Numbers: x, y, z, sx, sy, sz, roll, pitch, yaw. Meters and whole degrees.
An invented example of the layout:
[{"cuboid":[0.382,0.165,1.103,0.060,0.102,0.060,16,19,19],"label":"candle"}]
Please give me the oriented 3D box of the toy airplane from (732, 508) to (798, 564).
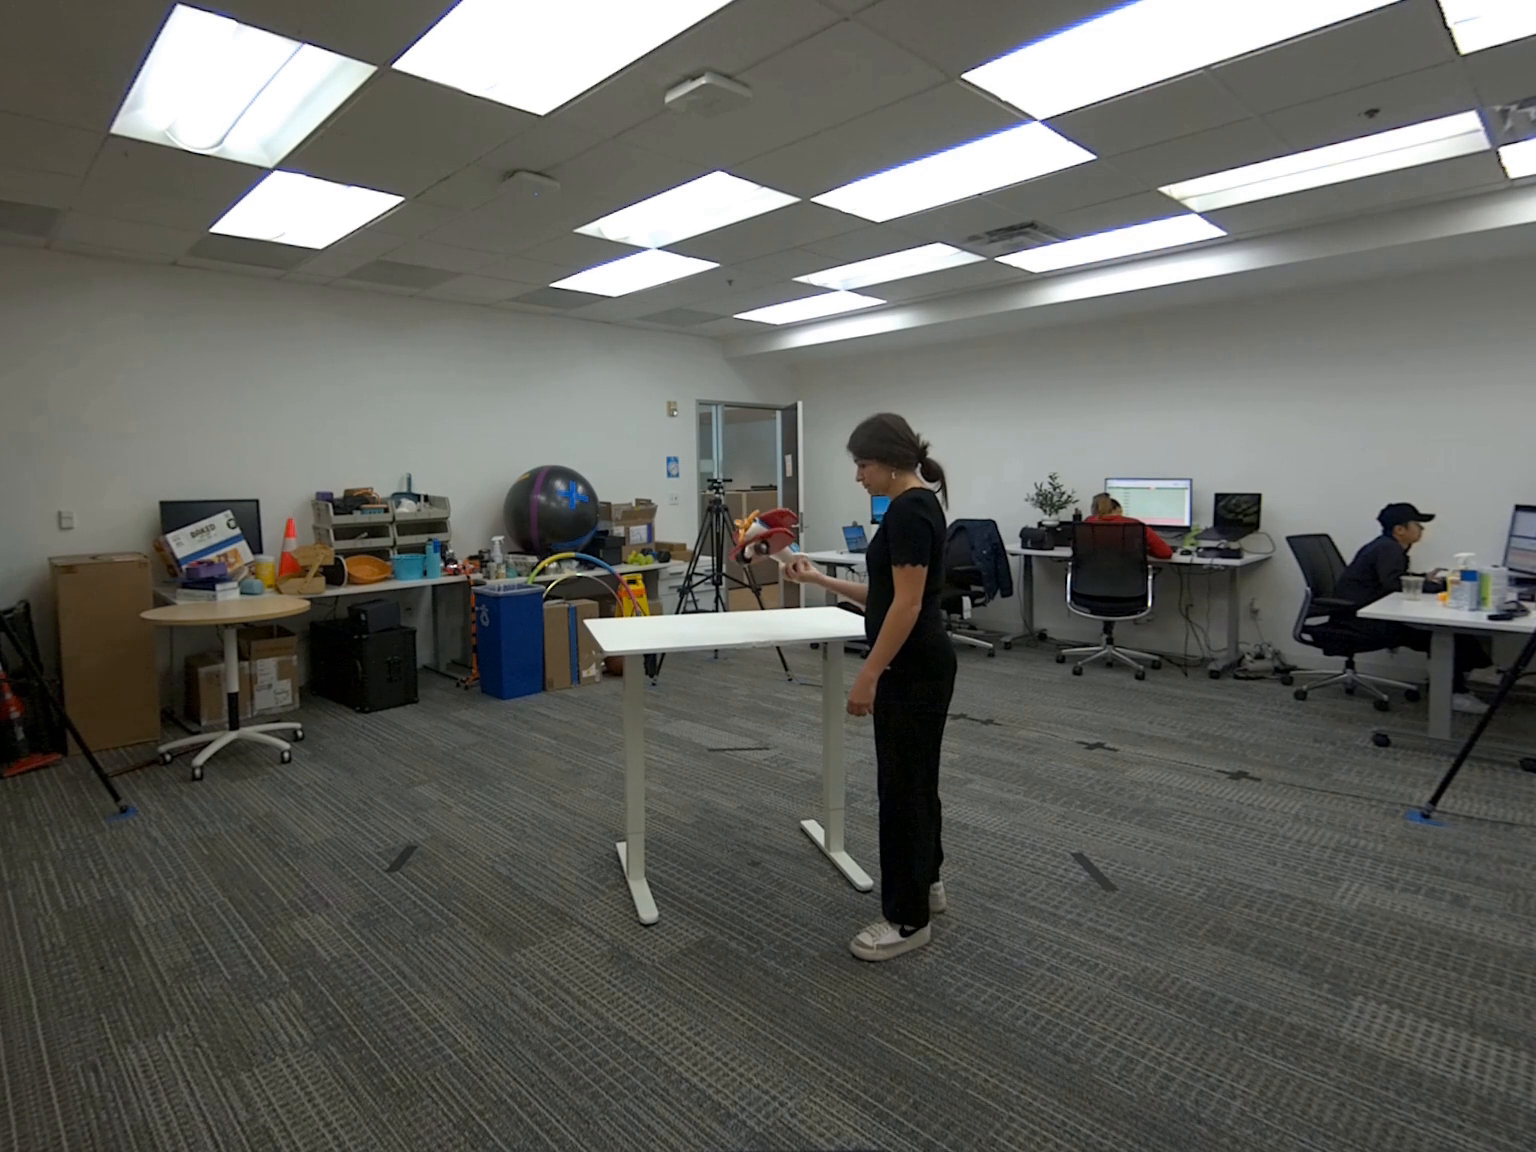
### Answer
[{"cuboid":[-0.003,-0.095,2.774,0.254,0.160,0.250,-9,-26,15],"label":"toy airplane"}]
